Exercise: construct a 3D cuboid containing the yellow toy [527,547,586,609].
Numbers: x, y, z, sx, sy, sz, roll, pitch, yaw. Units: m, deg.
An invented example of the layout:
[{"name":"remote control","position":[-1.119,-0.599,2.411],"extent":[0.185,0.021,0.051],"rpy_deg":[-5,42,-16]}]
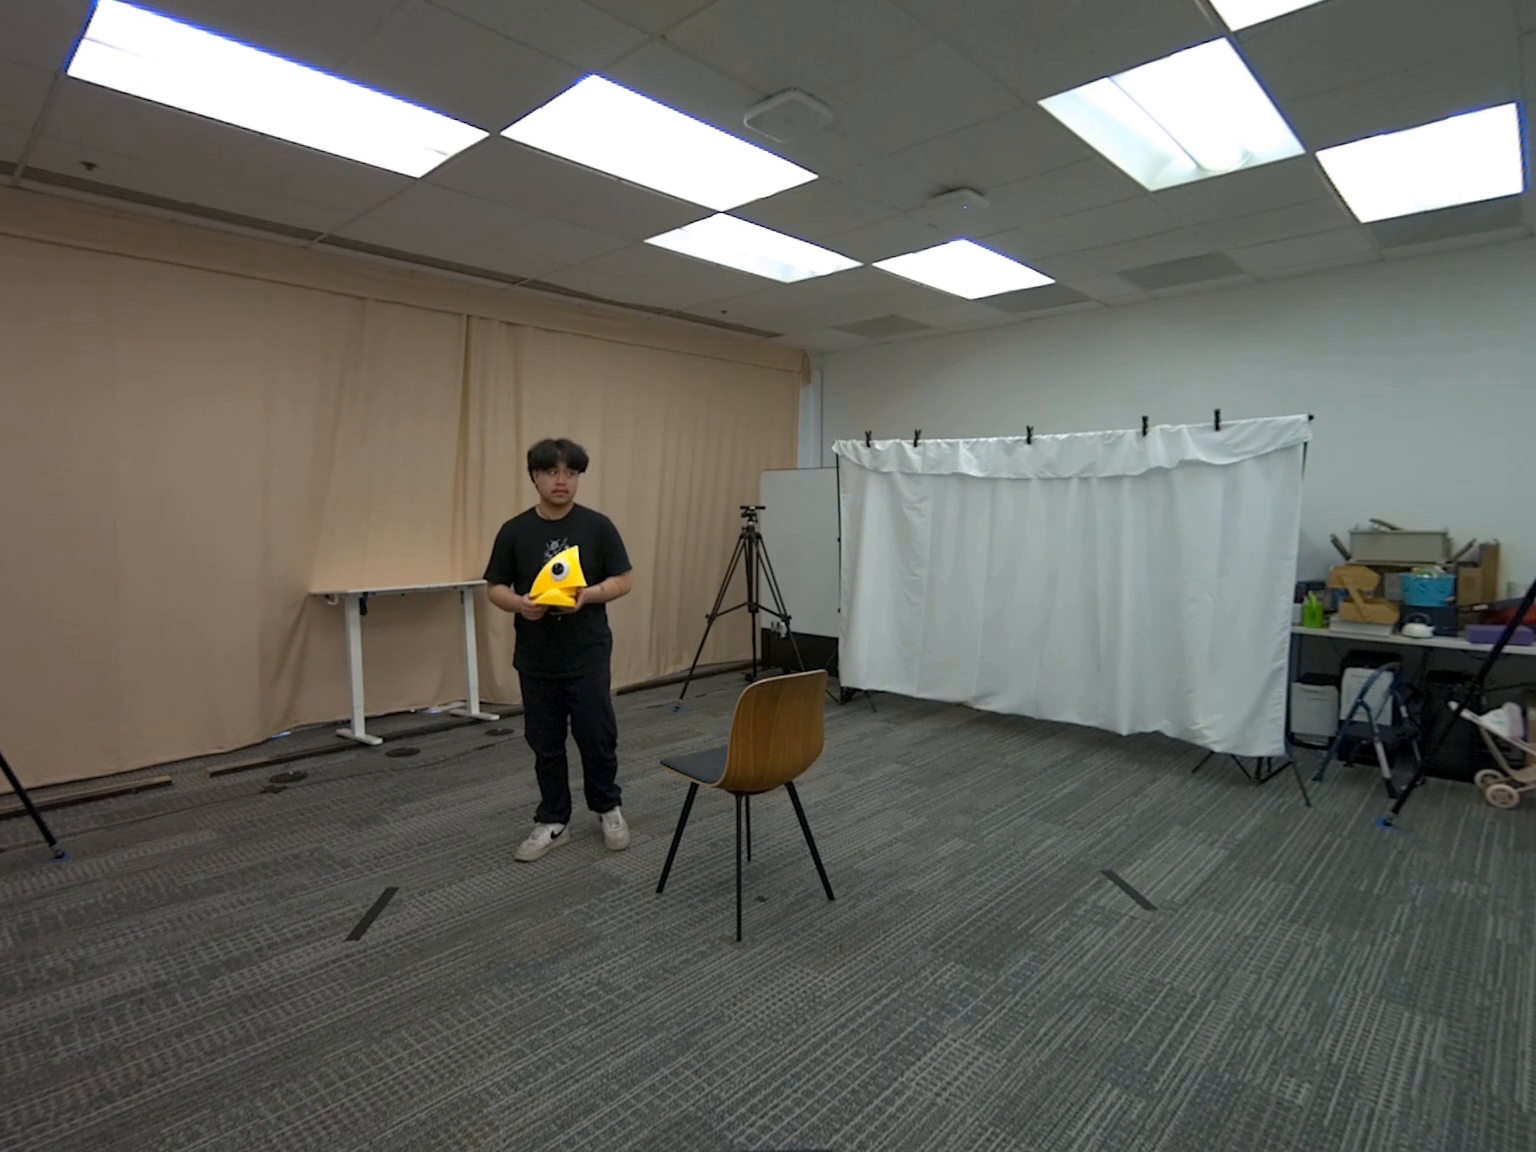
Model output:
[{"name":"yellow toy","position":[-0.780,-0.005,3.135],"extent":[0.188,0.231,0.209],"rpy_deg":[6,-6,-22]}]
